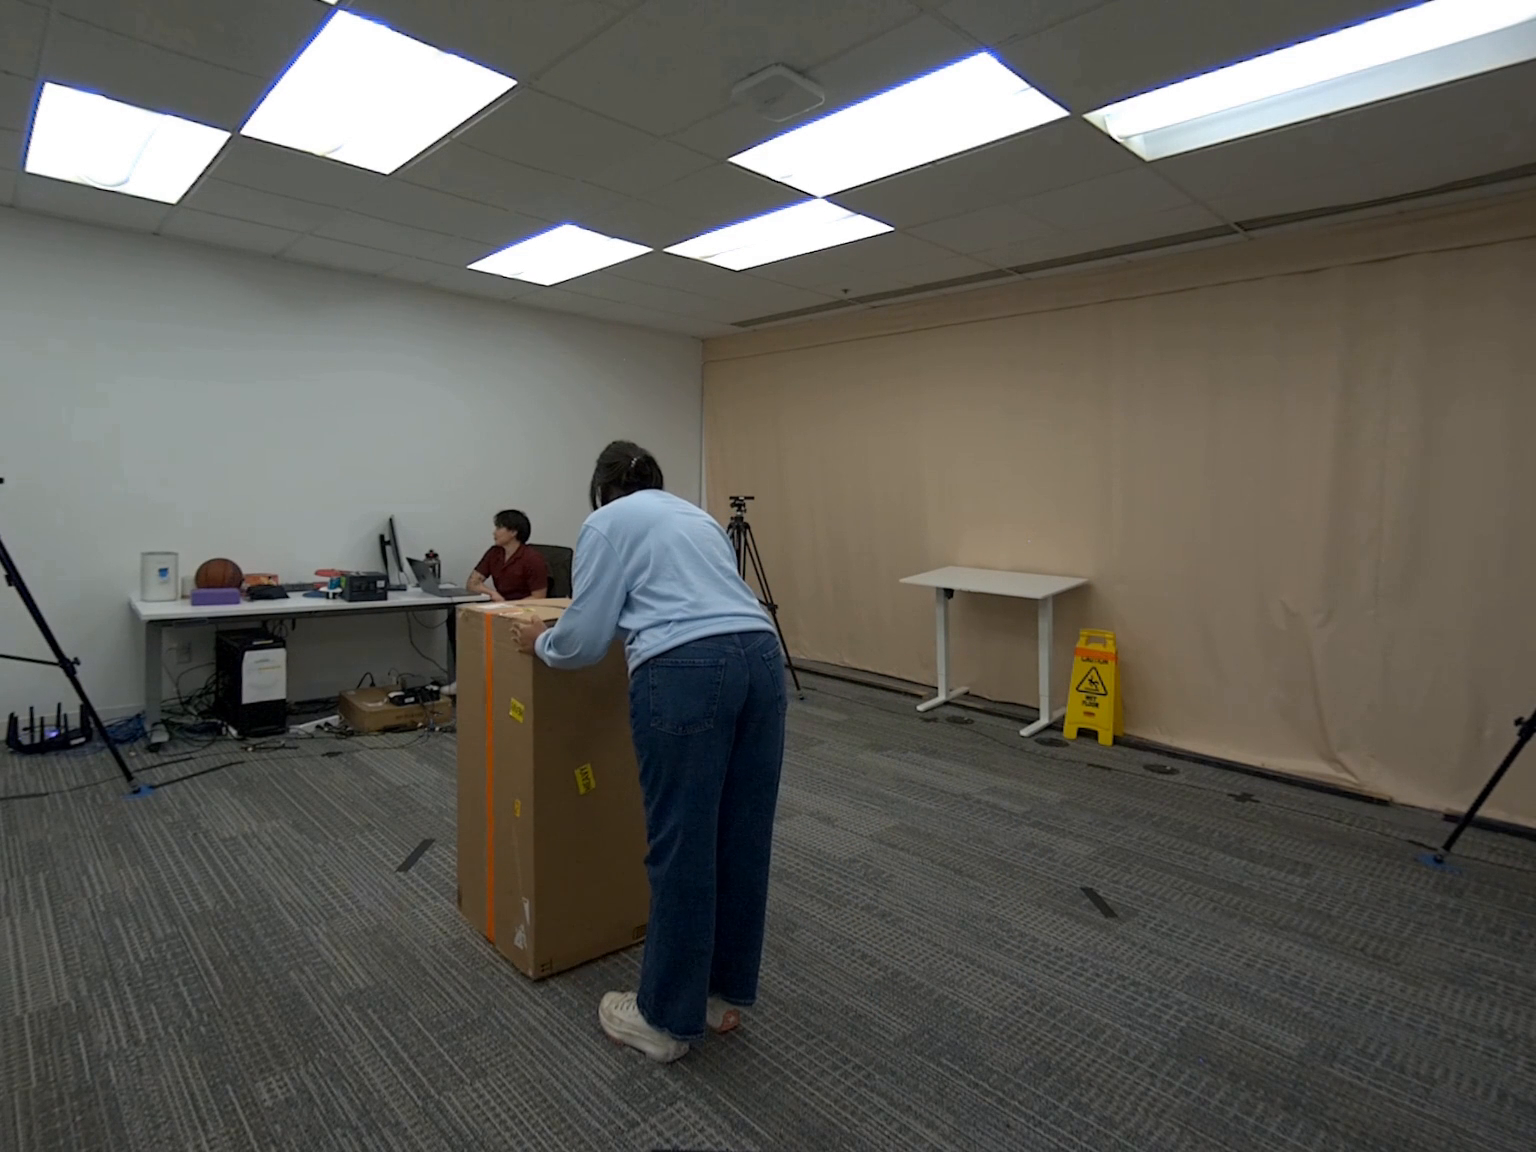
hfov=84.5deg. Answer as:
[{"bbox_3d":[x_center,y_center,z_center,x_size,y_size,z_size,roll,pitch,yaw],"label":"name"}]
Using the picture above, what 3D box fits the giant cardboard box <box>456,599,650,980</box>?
[{"bbox_3d":[-0.704,0.620,2.714,0.416,1.024,0.592,-1,3,-41],"label":"giant cardboard box"}]
